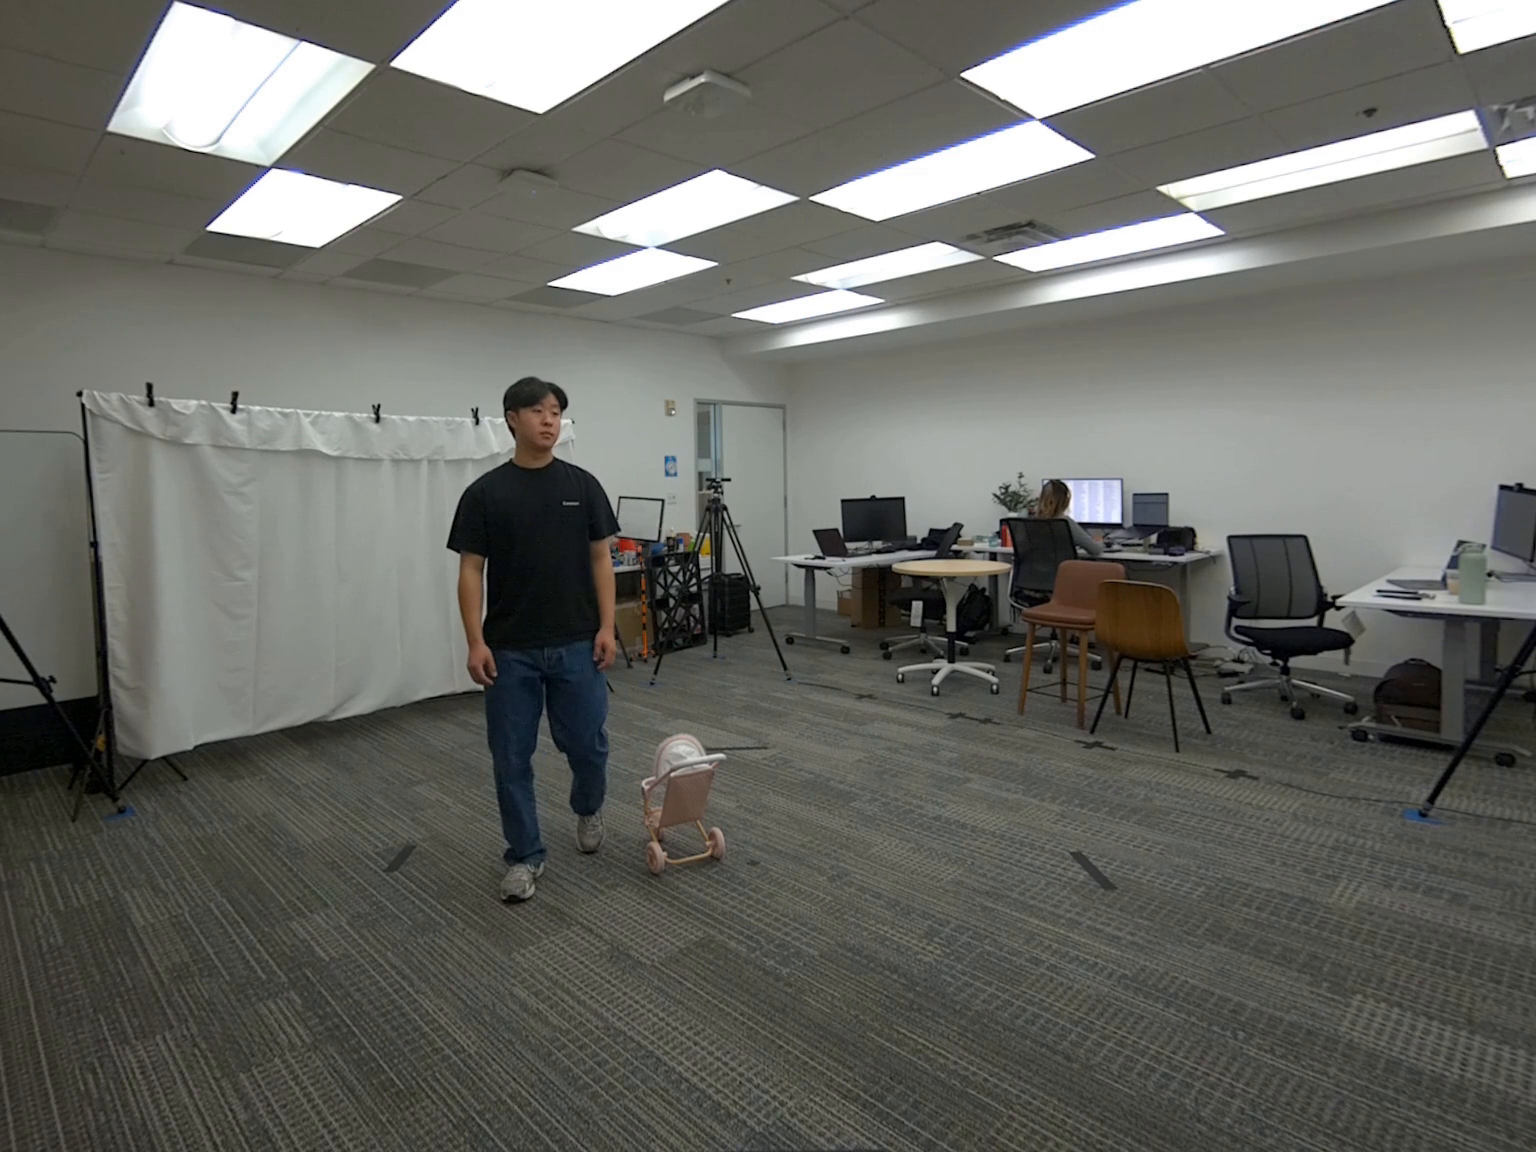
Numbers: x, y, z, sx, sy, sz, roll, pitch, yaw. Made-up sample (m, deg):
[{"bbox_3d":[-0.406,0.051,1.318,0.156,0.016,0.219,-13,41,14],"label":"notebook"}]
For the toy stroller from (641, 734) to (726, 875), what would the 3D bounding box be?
[{"bbox_3d":[-0.327,0.815,3.142,0.275,0.528,0.353,-3,20,-26],"label":"toy stroller"}]
